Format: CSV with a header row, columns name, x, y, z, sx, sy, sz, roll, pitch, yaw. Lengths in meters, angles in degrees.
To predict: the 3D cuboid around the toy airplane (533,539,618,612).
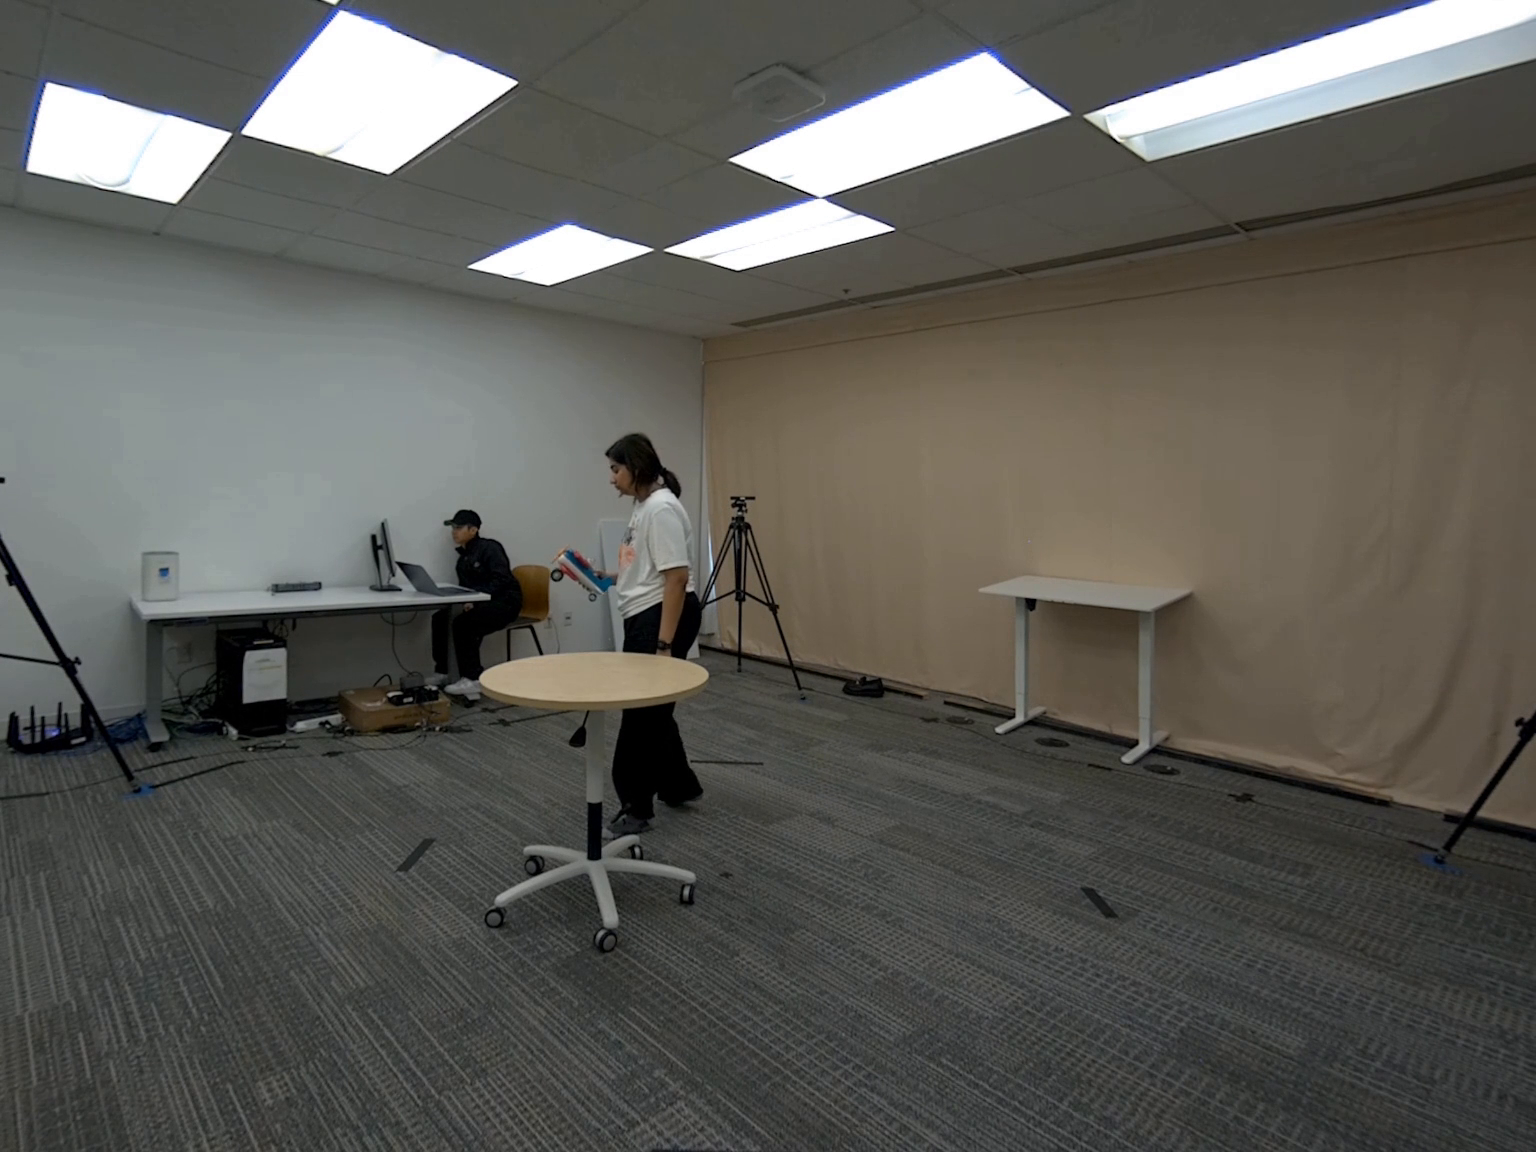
name,x,y,z,sx,sy,sz,roll,pitch,yaw
toy airplane,-0.802,-0.004,3.583,0.251,0.156,0.258,32,-6,-39
